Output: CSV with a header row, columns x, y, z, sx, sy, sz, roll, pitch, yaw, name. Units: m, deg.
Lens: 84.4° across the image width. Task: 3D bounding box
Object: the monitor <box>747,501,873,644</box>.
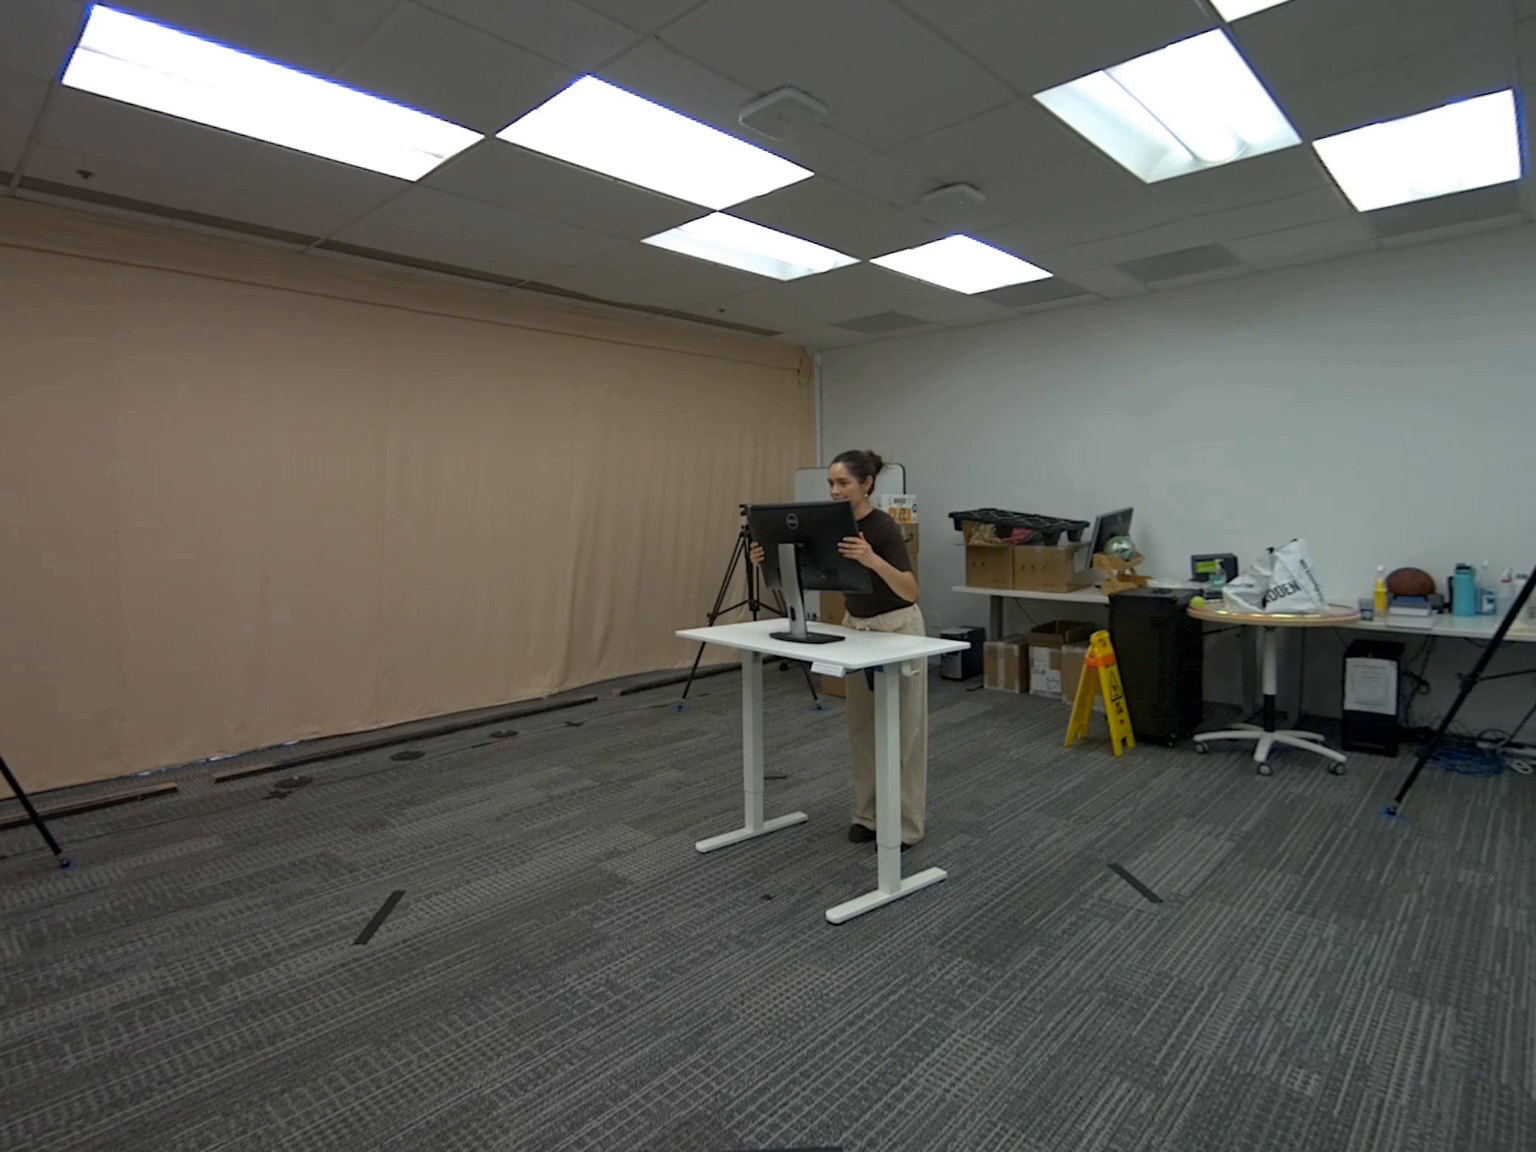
x,y,z,sx,sy,sz,roll,pitch,yaw,name
0.131,-0.015,3.158,0.557,0.520,0.182,1,8,44,monitor
